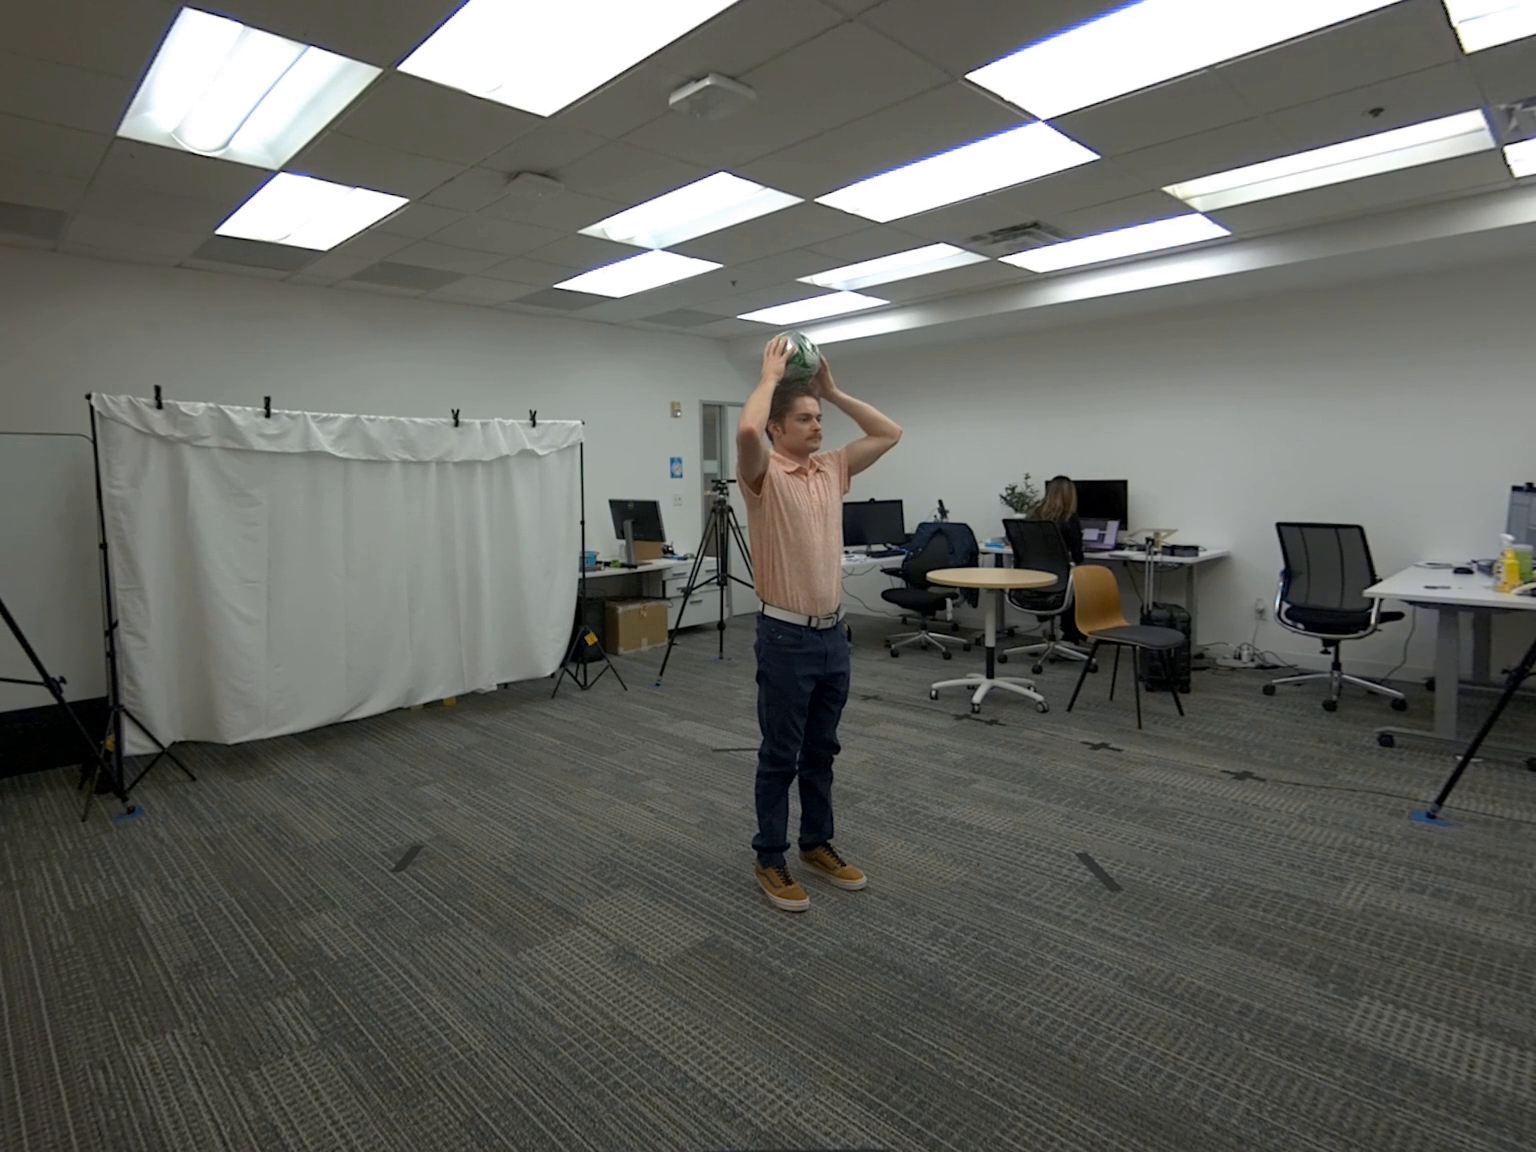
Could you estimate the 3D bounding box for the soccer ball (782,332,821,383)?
[{"bbox_3d":[0.087,-0.722,2.870,0.187,0.187,0.188,-1,5,-2],"label":"soccer ball"}]
